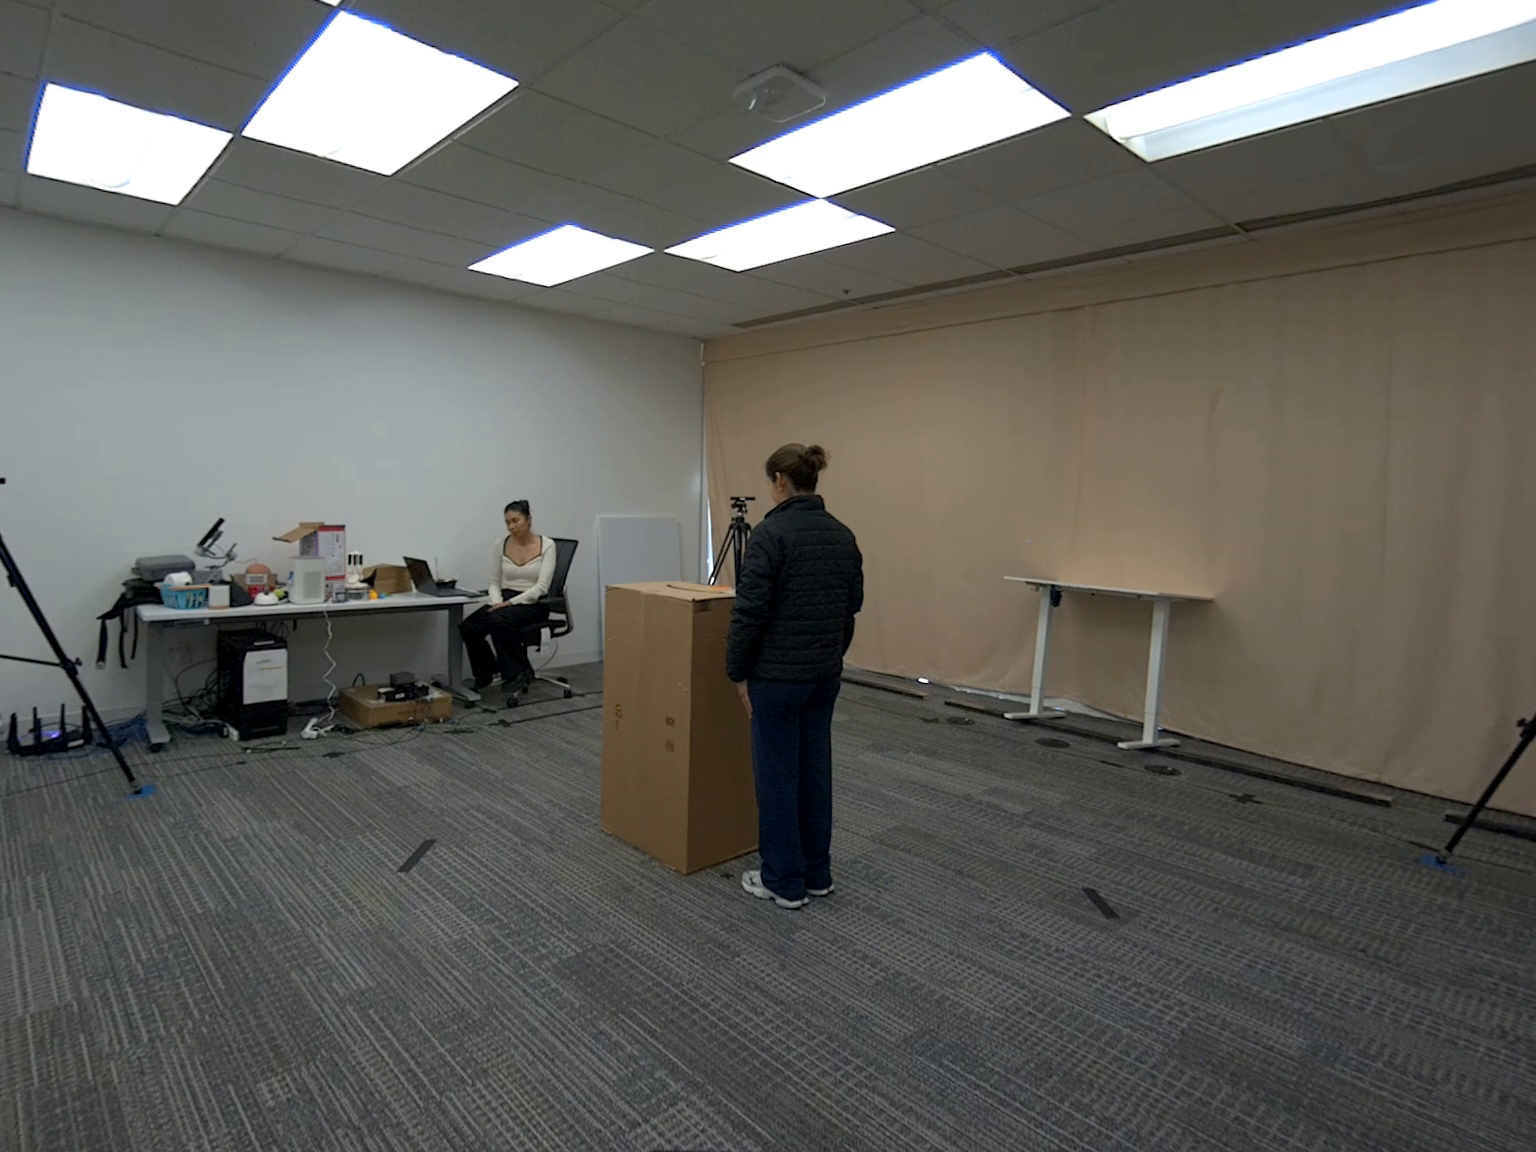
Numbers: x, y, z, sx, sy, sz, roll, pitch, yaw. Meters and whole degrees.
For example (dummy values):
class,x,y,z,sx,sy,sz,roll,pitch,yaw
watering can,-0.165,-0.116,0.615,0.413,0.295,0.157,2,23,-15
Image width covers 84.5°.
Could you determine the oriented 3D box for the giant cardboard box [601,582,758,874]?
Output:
class,x,y,z,sx,sy,sz,roll,pitch,yaw
giant cardboard box,-0.342,0.564,3.417,0.436,1.025,0.599,0,4,-42
